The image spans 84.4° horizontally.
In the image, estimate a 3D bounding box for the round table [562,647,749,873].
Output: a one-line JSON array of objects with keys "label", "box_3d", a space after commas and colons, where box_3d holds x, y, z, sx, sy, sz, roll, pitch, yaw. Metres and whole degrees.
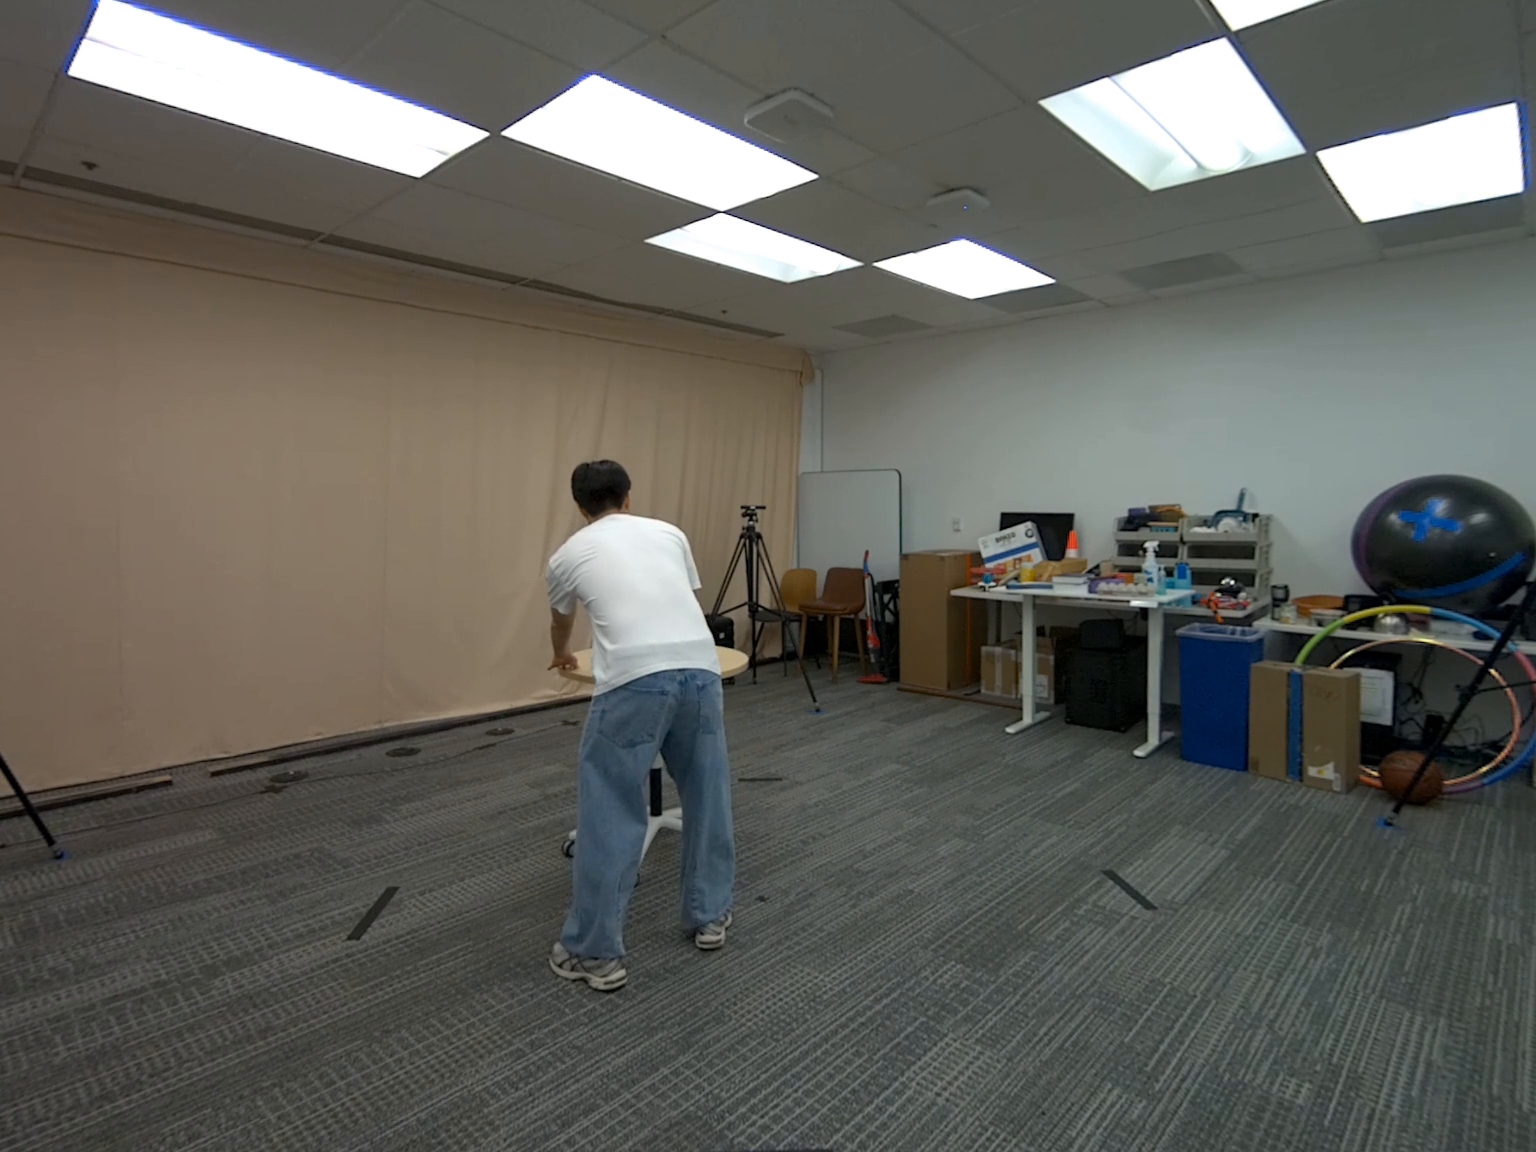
[{"label": "round table", "box_3d": [-0.459, 0.727, 3.399, 0.763, 0.792, 0.767, -1, 4, -2]}]
